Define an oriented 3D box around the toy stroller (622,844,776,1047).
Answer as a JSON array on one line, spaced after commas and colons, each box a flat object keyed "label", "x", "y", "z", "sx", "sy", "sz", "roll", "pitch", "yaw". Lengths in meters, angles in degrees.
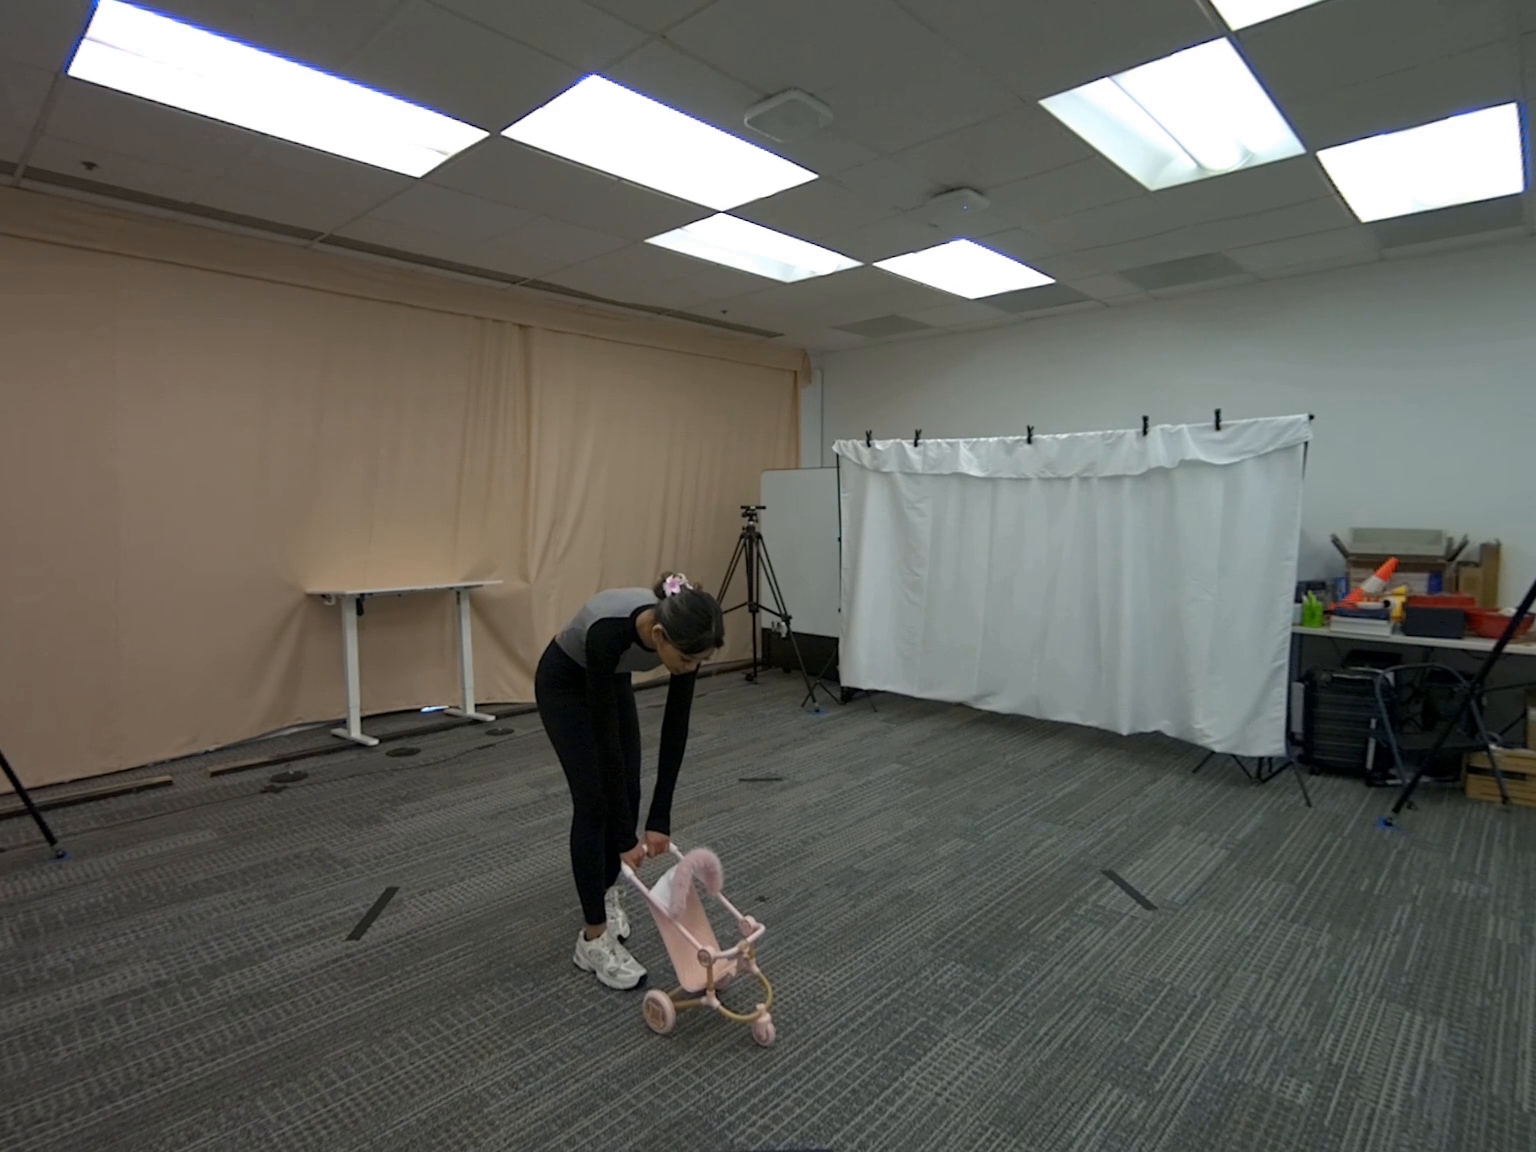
[{"label": "toy stroller", "x": -0.170, "y": 0.983, "z": 2.277, "sx": 0.349, "sy": 0.539, "sz": 0.273, "roll": -20, "pitch": -9, "yaw": 39}]
